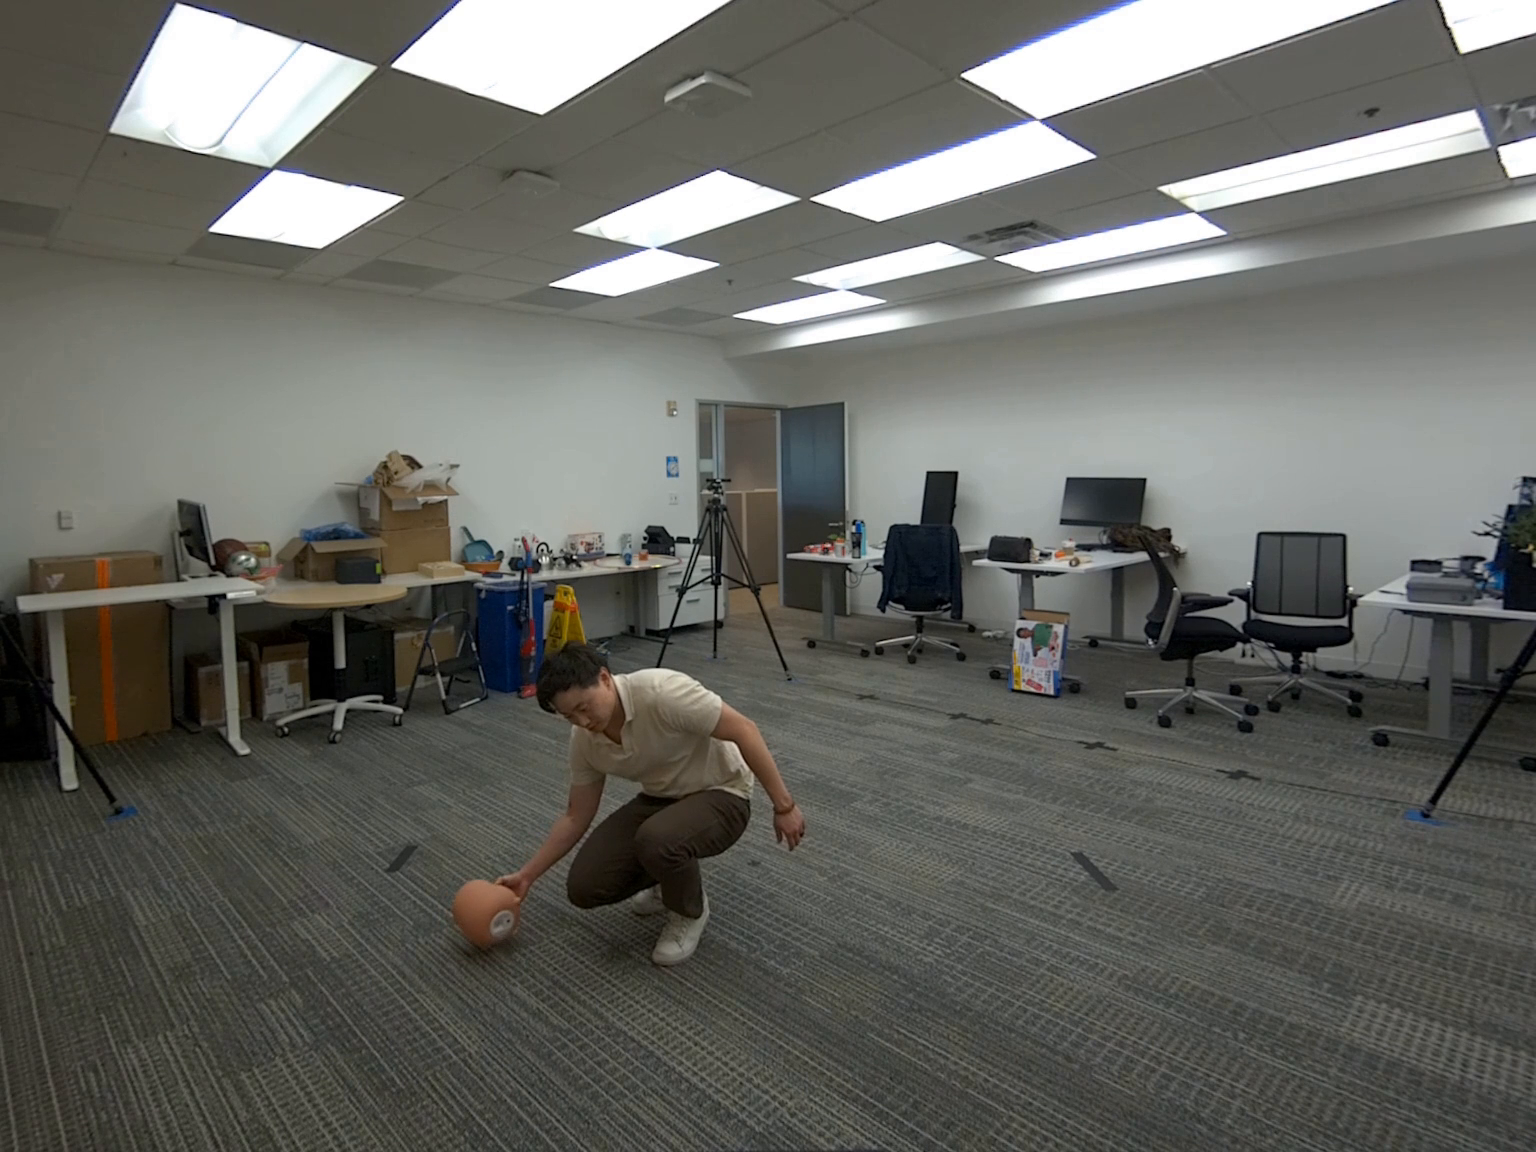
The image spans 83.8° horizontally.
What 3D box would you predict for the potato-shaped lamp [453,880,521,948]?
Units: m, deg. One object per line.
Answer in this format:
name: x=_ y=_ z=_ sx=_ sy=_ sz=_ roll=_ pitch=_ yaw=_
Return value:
potato-shaped lamp: x=-0.842 y=1.008 z=2.569 sx=0.205 sy=0.163 sz=0.167 roll=13 pitch=13 yaw=43
